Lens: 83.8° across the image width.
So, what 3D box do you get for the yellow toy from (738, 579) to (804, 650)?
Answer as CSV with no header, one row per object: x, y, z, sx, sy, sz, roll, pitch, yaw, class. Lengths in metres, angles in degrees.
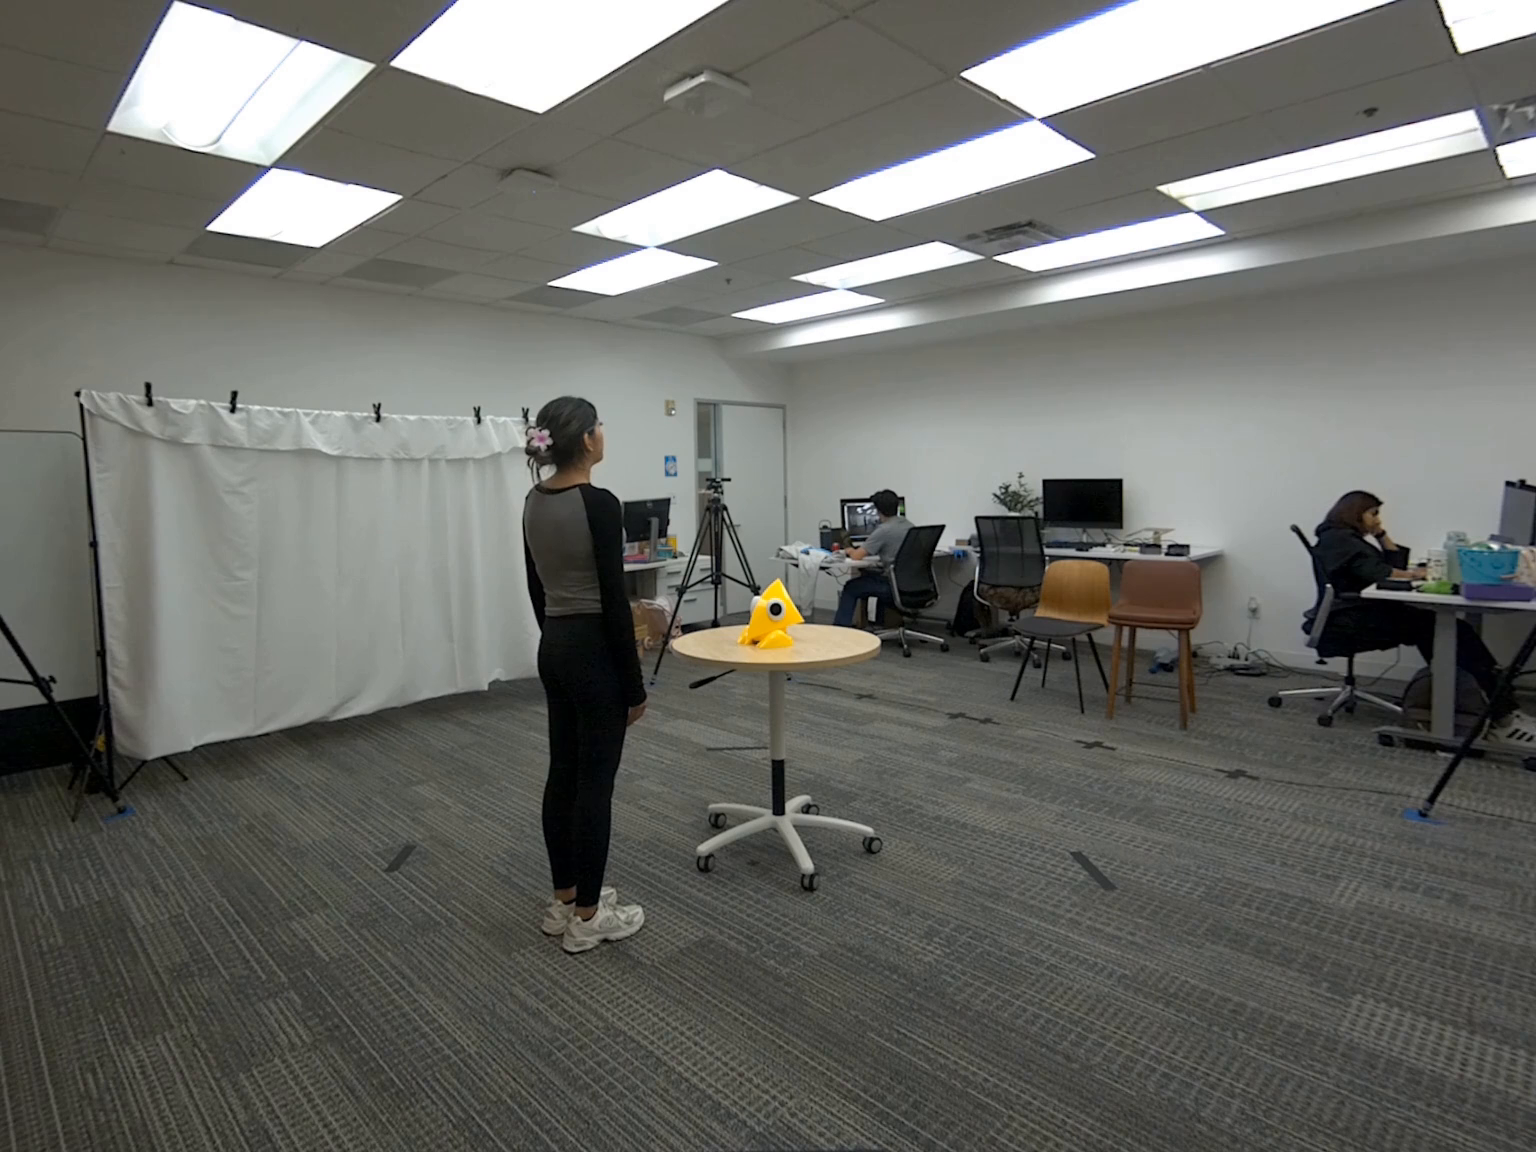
-0.004,0.132,3.123,0.188,0.230,0.211,-6,6,-39,yellow toy
